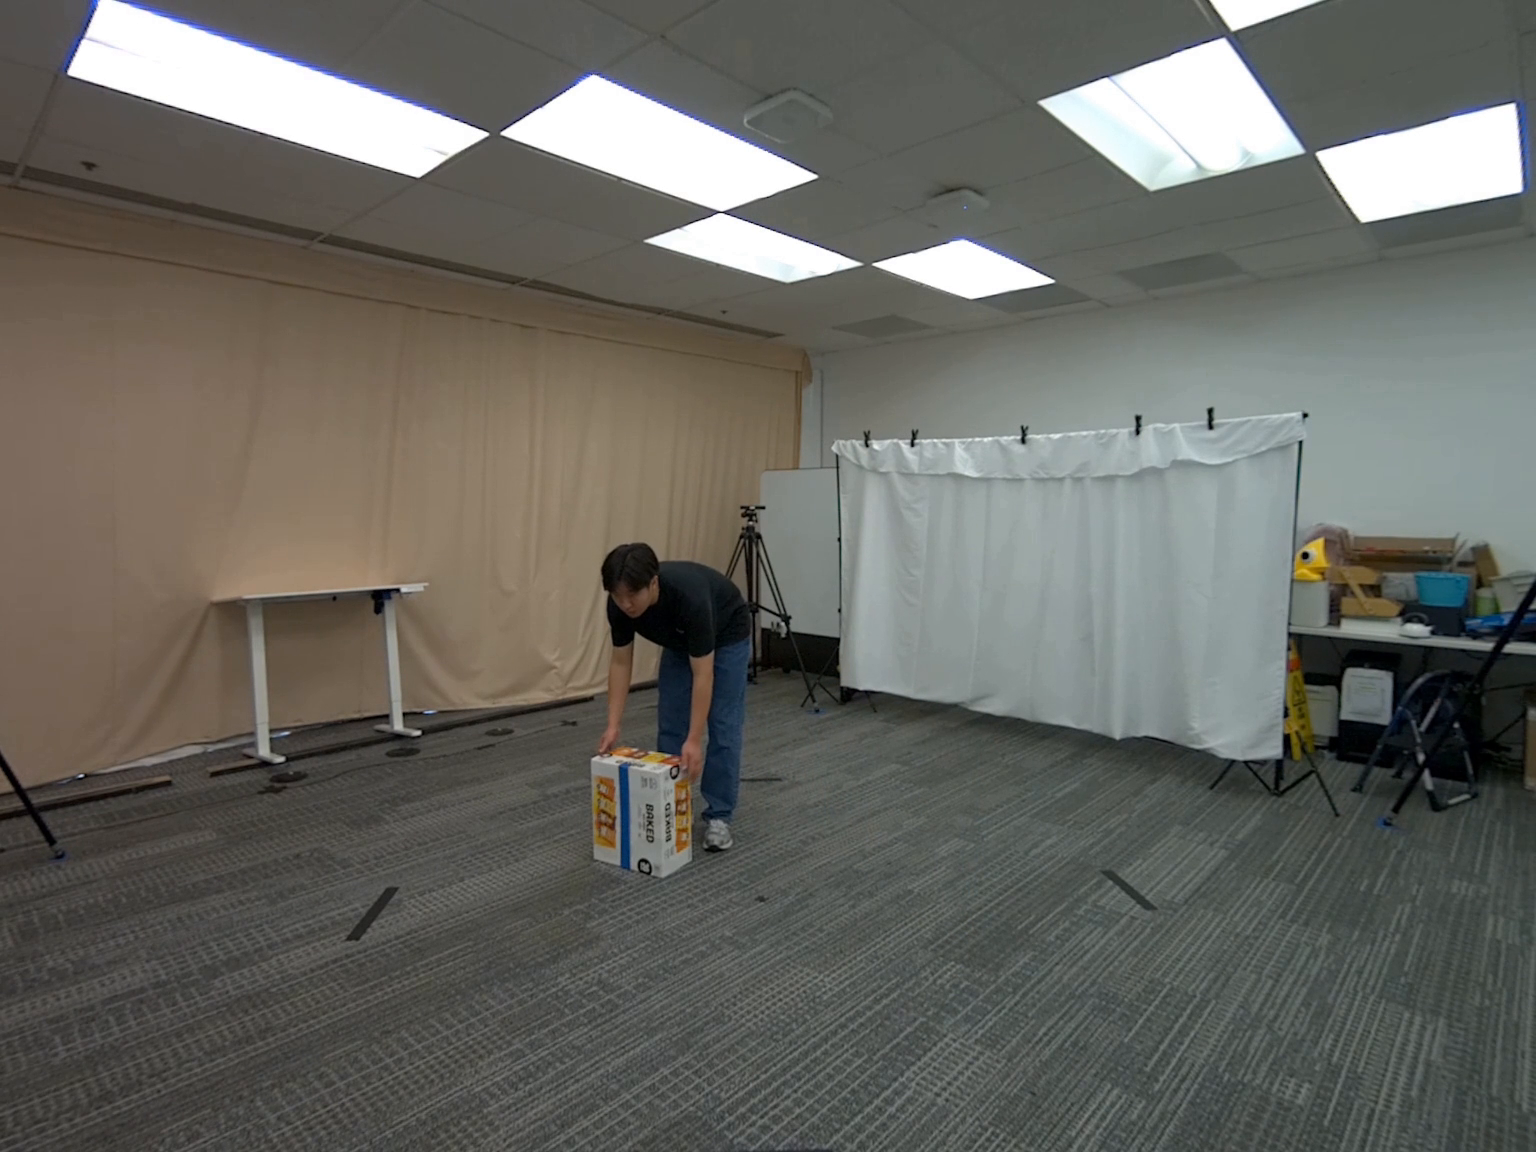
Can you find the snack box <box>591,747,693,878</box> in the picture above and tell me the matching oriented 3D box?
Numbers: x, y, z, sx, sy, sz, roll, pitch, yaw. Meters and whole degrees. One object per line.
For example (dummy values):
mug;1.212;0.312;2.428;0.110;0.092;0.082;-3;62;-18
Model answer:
snack box;-0.495;0.918;3.313;0.350;0.404;0.200;1;4;31
